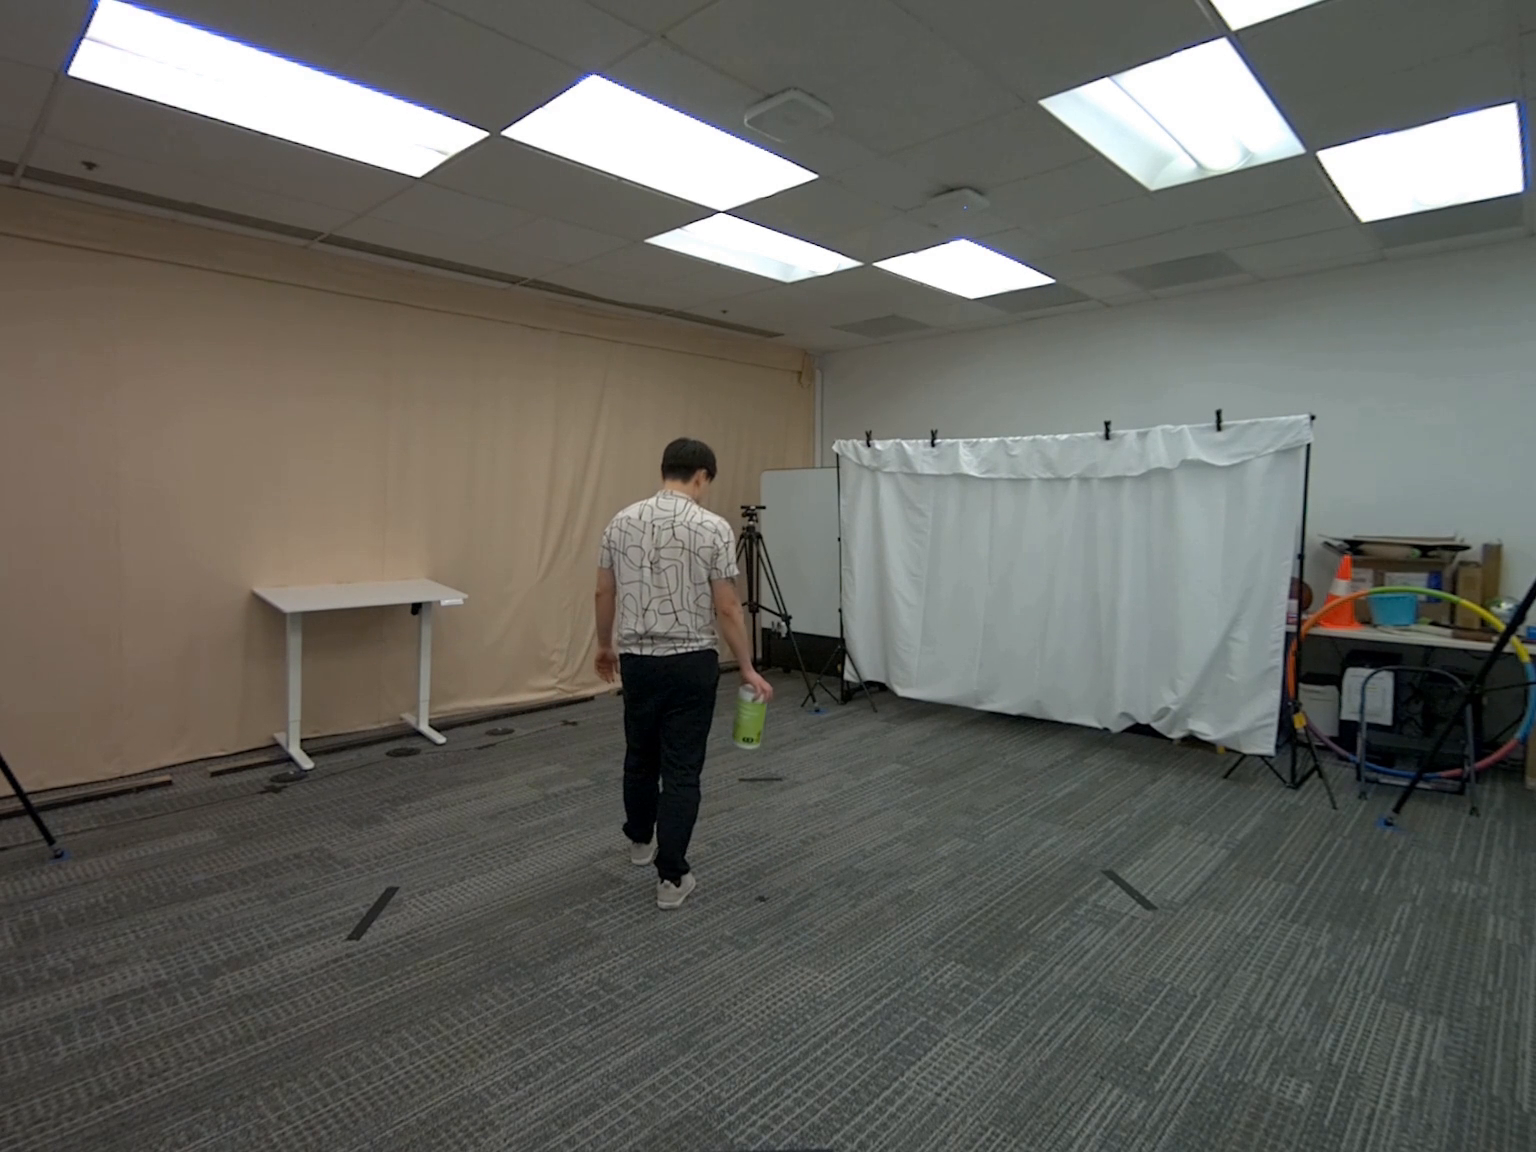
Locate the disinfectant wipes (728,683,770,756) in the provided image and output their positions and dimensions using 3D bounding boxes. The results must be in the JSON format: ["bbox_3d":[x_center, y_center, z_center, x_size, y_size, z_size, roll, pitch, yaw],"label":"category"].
[{"bbox_3d":[-0.072,0.518,3.085,0.117,0.216,0.119,7,11,-3],"label":"disinfectant wipes"}]
